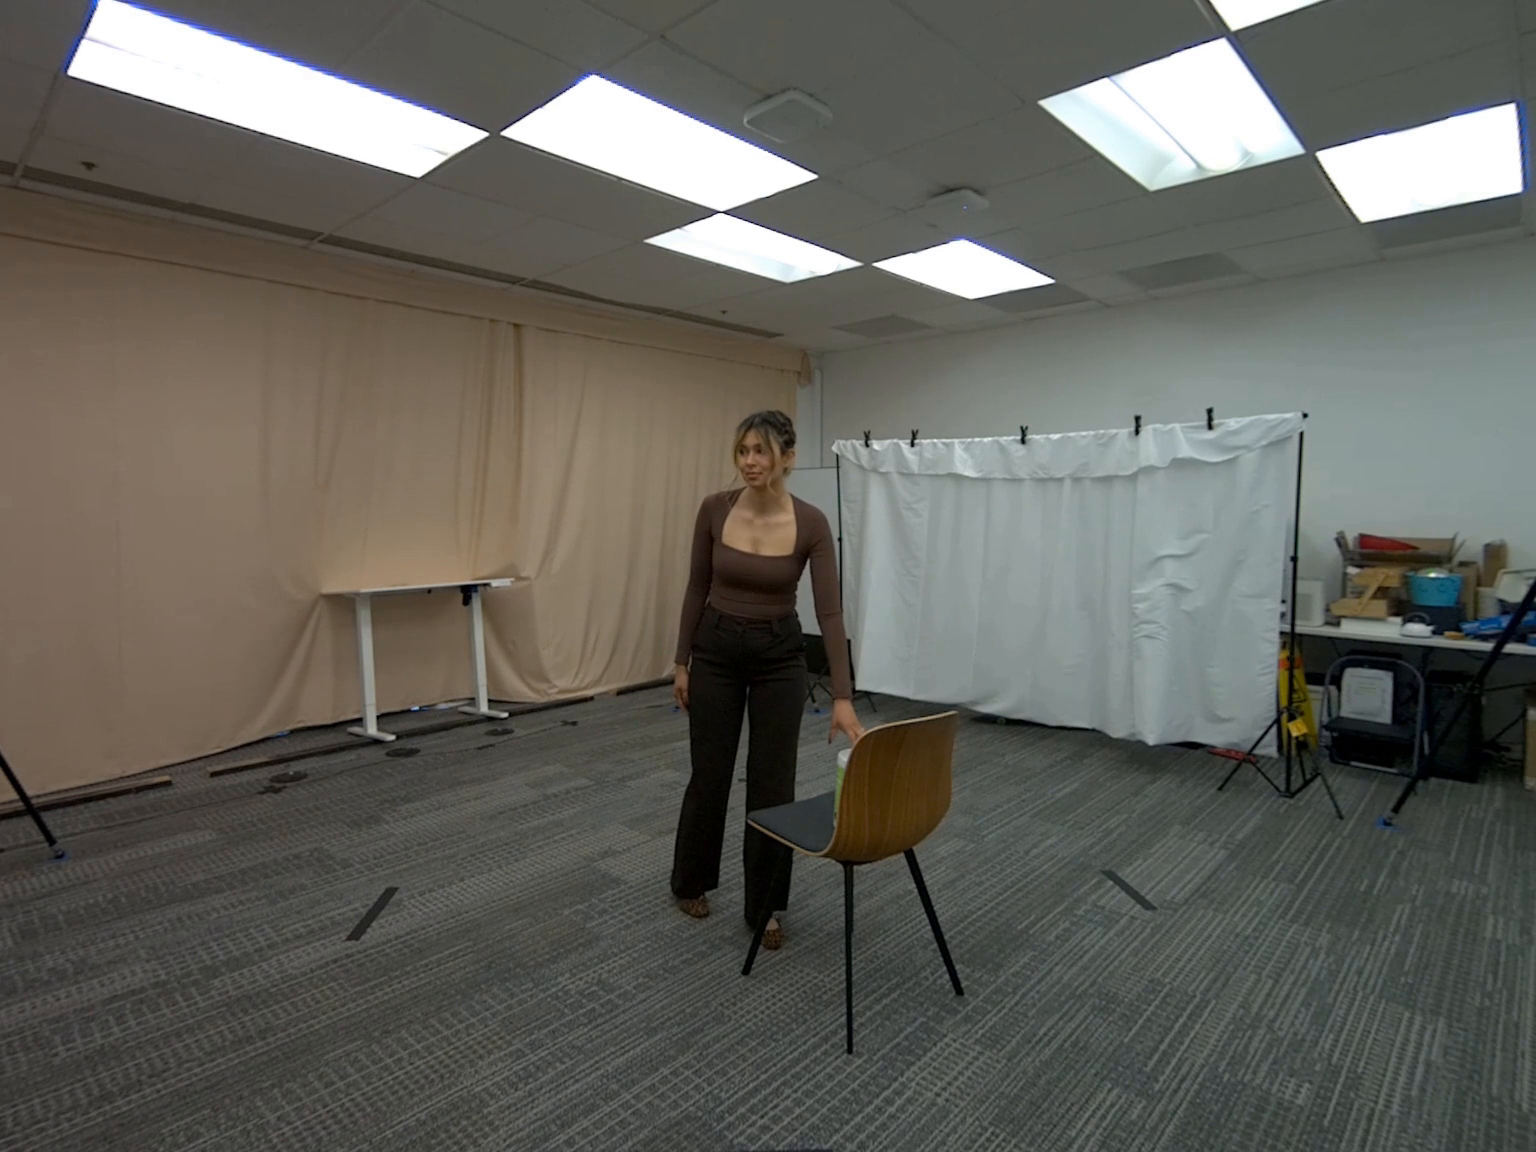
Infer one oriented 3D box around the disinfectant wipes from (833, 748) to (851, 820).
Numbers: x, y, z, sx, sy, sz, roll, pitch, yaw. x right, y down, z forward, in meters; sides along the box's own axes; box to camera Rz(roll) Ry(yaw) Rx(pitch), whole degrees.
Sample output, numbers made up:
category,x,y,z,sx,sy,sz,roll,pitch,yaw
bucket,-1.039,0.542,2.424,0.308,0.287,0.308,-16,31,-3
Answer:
category,x,y,z,sx,sy,sz,roll,pitch,yaw
disinfectant wipes,0.262,0.618,2.392,0.117,0.217,0.118,3,6,-2
